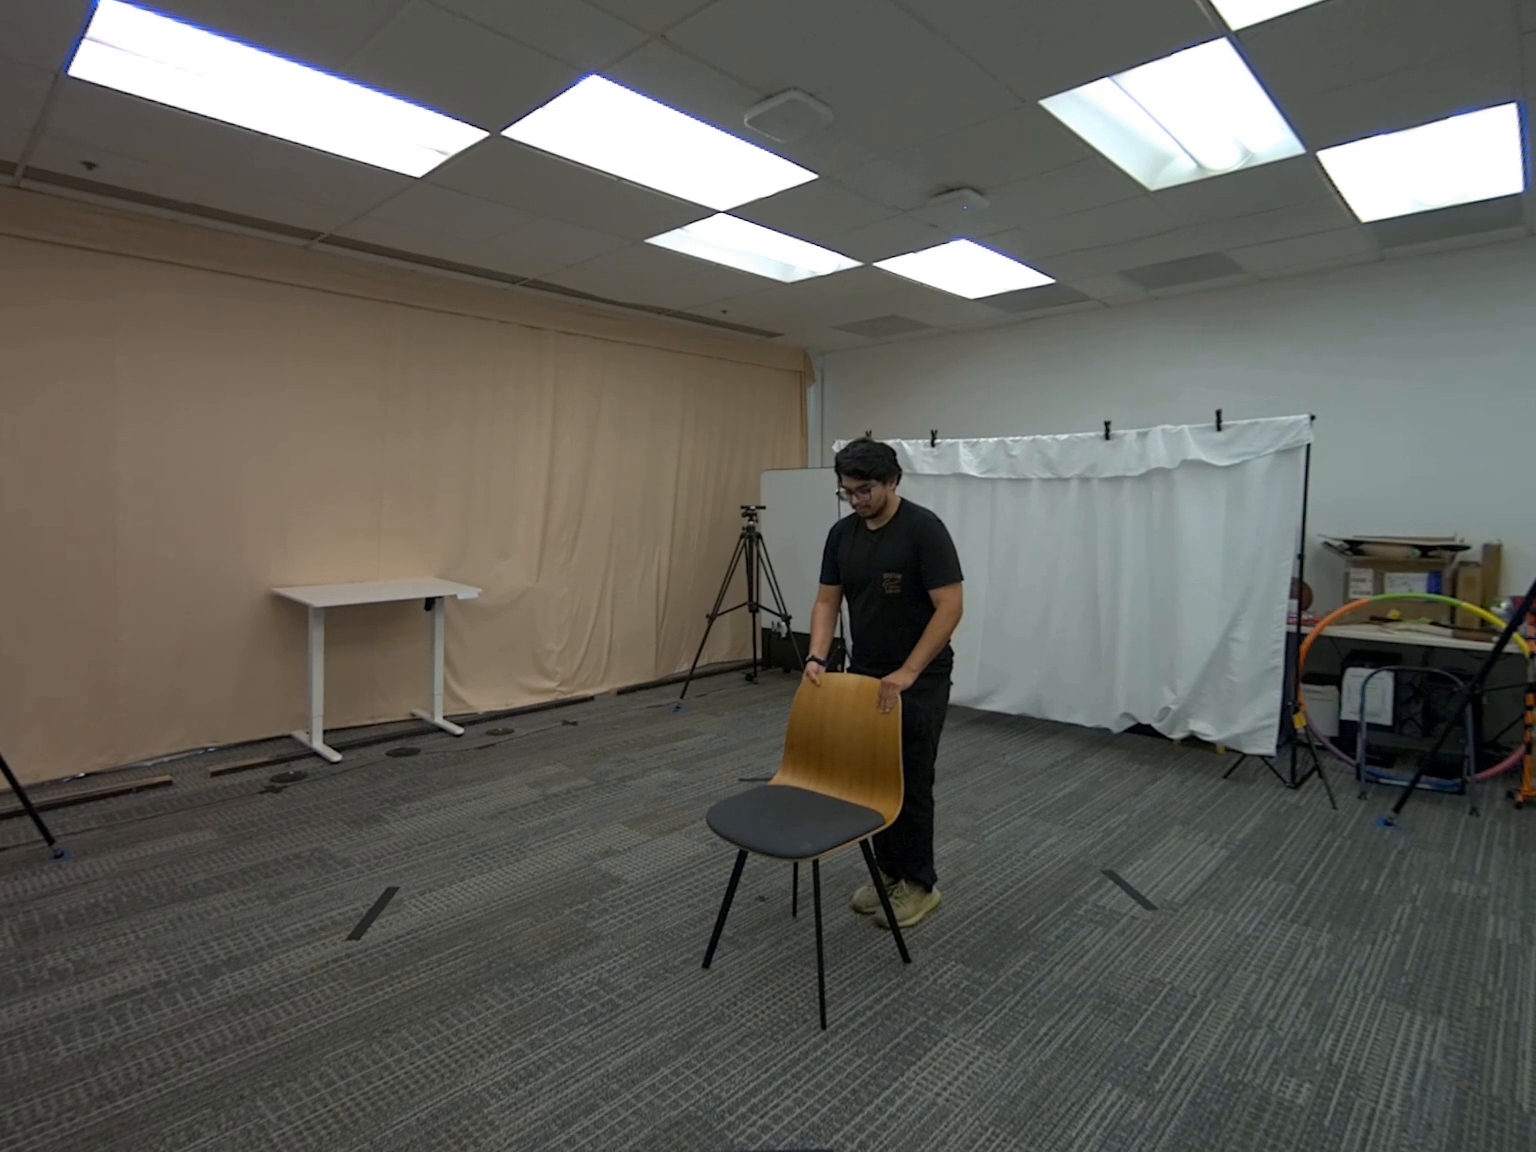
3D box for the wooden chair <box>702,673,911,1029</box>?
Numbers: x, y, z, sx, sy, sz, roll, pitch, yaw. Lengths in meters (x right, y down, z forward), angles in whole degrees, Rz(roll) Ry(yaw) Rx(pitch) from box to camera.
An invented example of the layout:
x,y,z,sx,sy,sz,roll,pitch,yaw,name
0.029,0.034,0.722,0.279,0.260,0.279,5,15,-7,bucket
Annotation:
x,y,z,sx,sy,sz,roll,pitch,yaw,name
0.115,0.755,2.515,0.494,0.877,0.506,3,0,42,wooden chair
